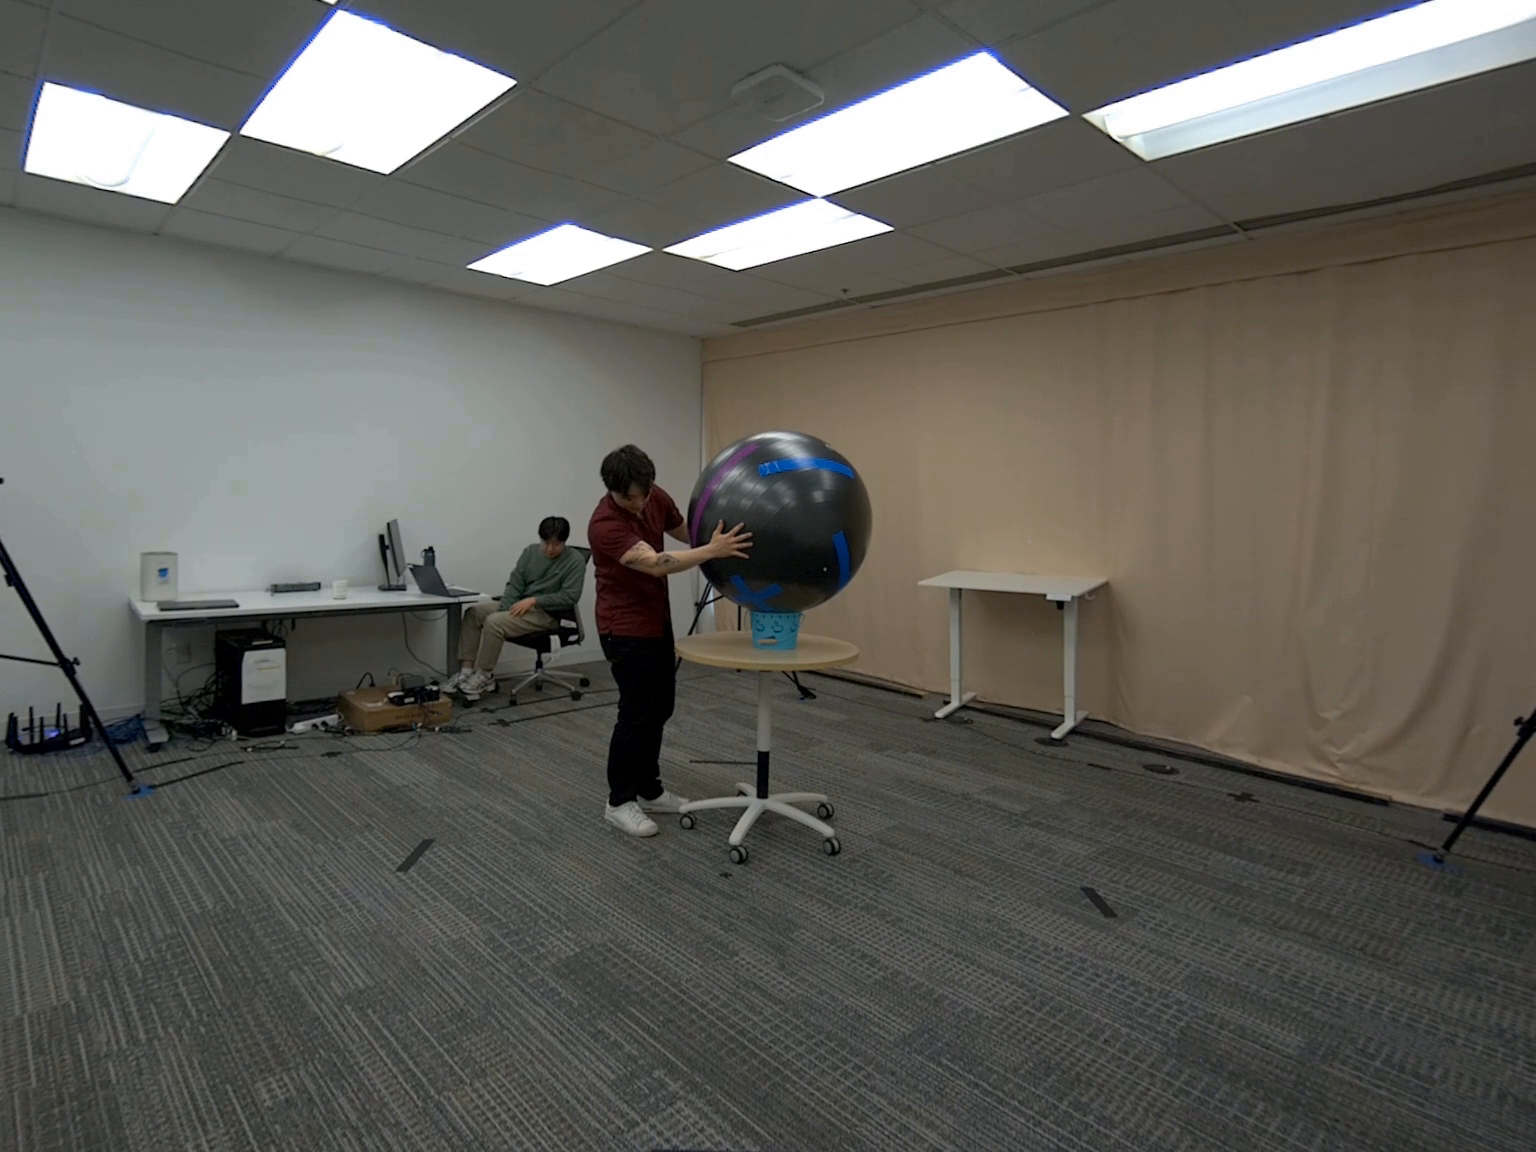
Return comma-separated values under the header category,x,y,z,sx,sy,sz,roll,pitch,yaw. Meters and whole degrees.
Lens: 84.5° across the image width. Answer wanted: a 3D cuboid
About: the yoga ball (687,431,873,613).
category,x,y,z,sx,sy,sz,roll,pitch,yaw
yoga ball,0.039,-0.216,3.482,0.757,0.756,0.761,1,4,-1
